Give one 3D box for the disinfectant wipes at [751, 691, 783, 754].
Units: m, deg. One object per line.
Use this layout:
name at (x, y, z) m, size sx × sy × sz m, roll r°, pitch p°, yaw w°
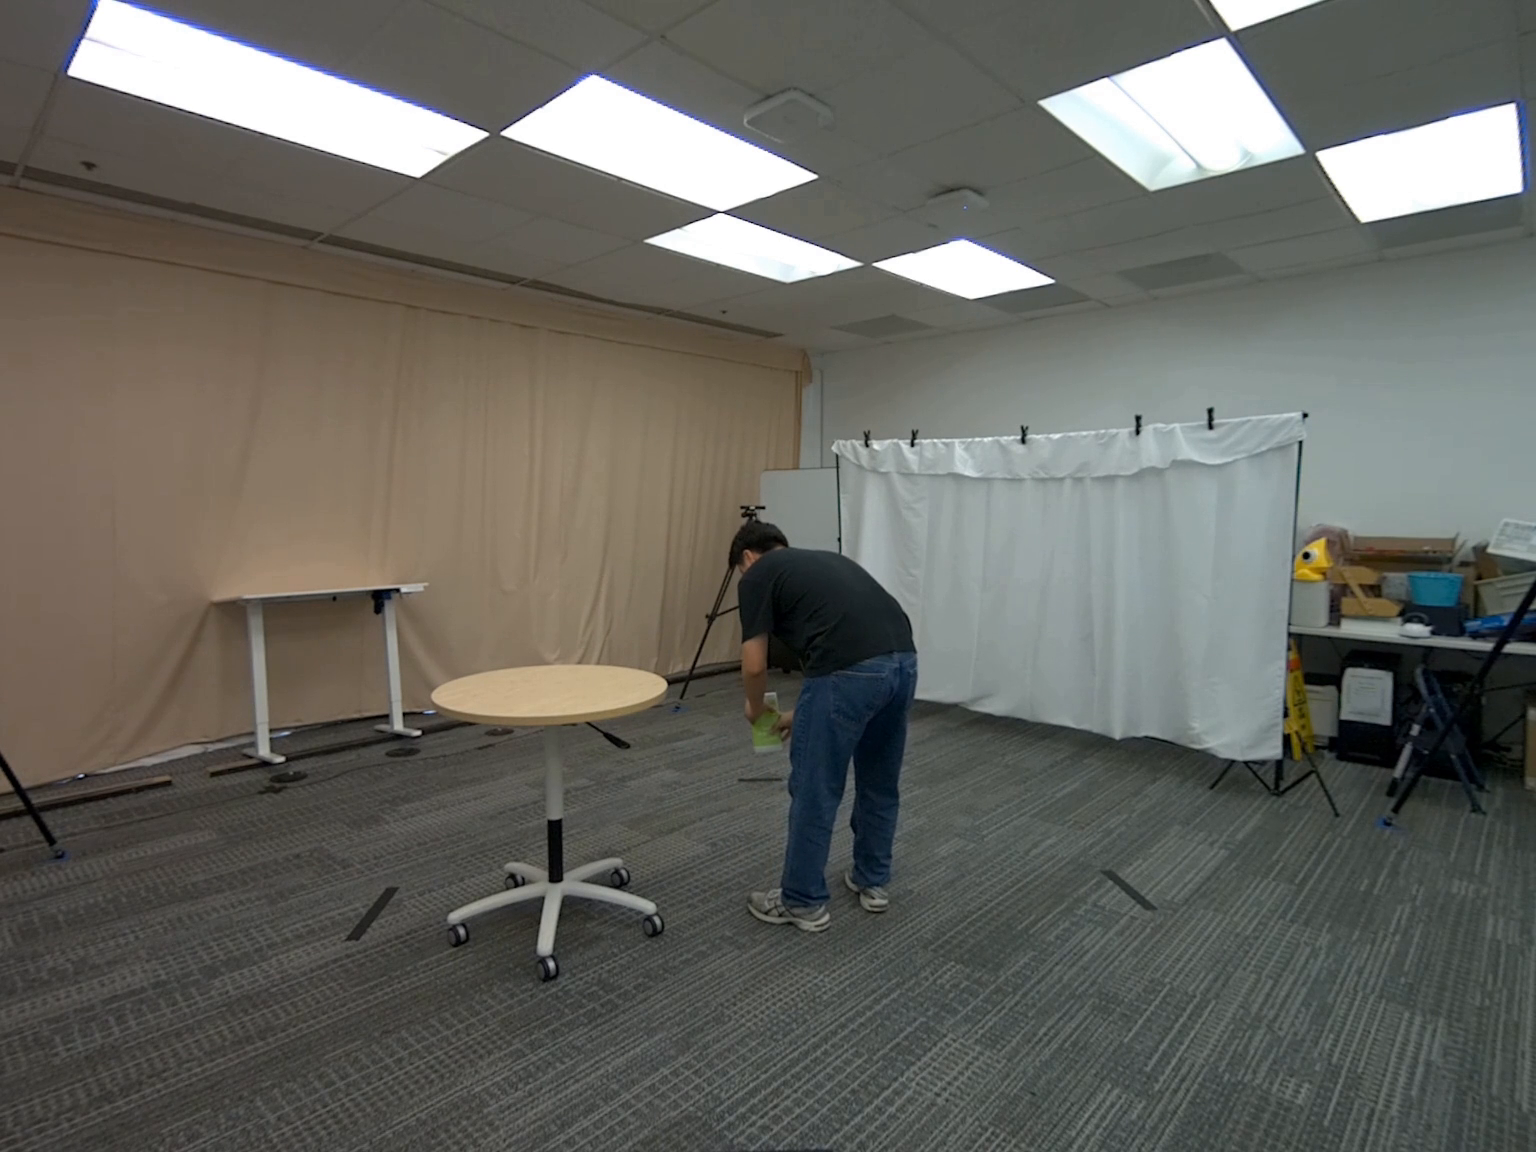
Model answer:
disinfectant wipes at (-0.006, 0.557, 3.168) m, size 0.117 × 0.219 × 0.117 m, roll -5°, pitch -9°, yaw -3°
